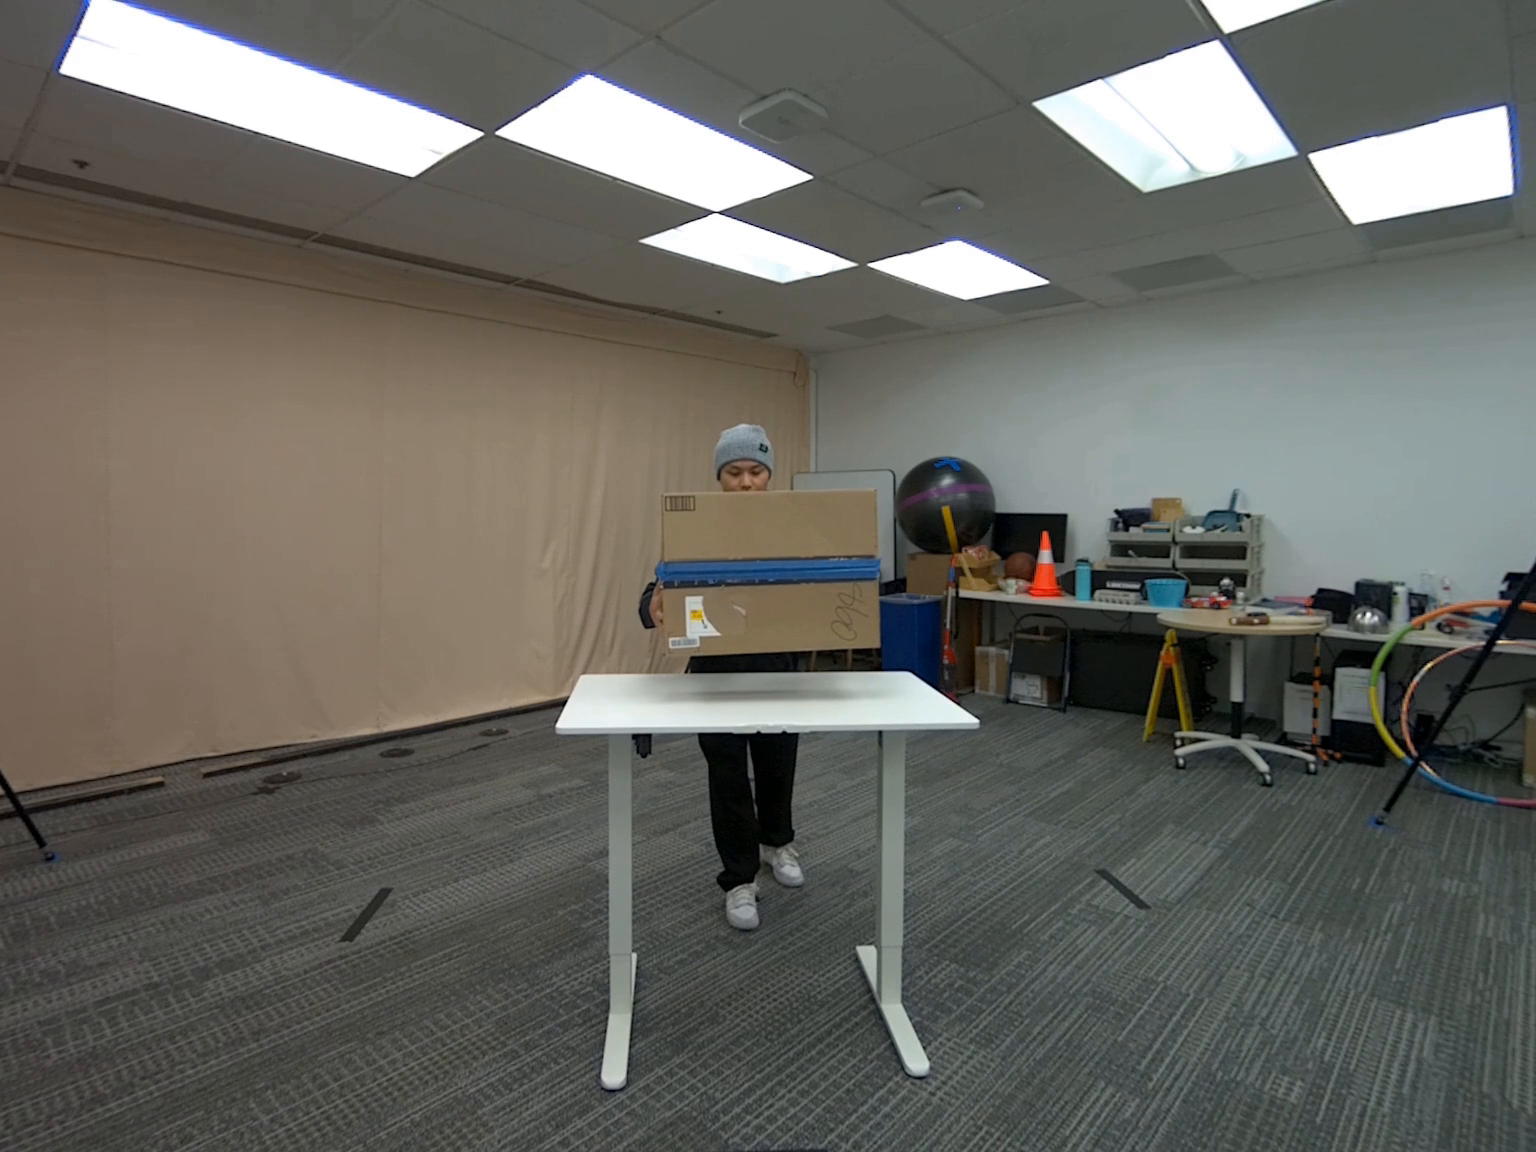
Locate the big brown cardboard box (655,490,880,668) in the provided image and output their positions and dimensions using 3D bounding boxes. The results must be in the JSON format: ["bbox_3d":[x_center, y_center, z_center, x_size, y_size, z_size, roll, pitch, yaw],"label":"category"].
[{"bbox_3d":[-0.007,-0.011,2.276,0.586,0.418,0.234,-2,-1,-5],"label":"big brown cardboard box"}]
